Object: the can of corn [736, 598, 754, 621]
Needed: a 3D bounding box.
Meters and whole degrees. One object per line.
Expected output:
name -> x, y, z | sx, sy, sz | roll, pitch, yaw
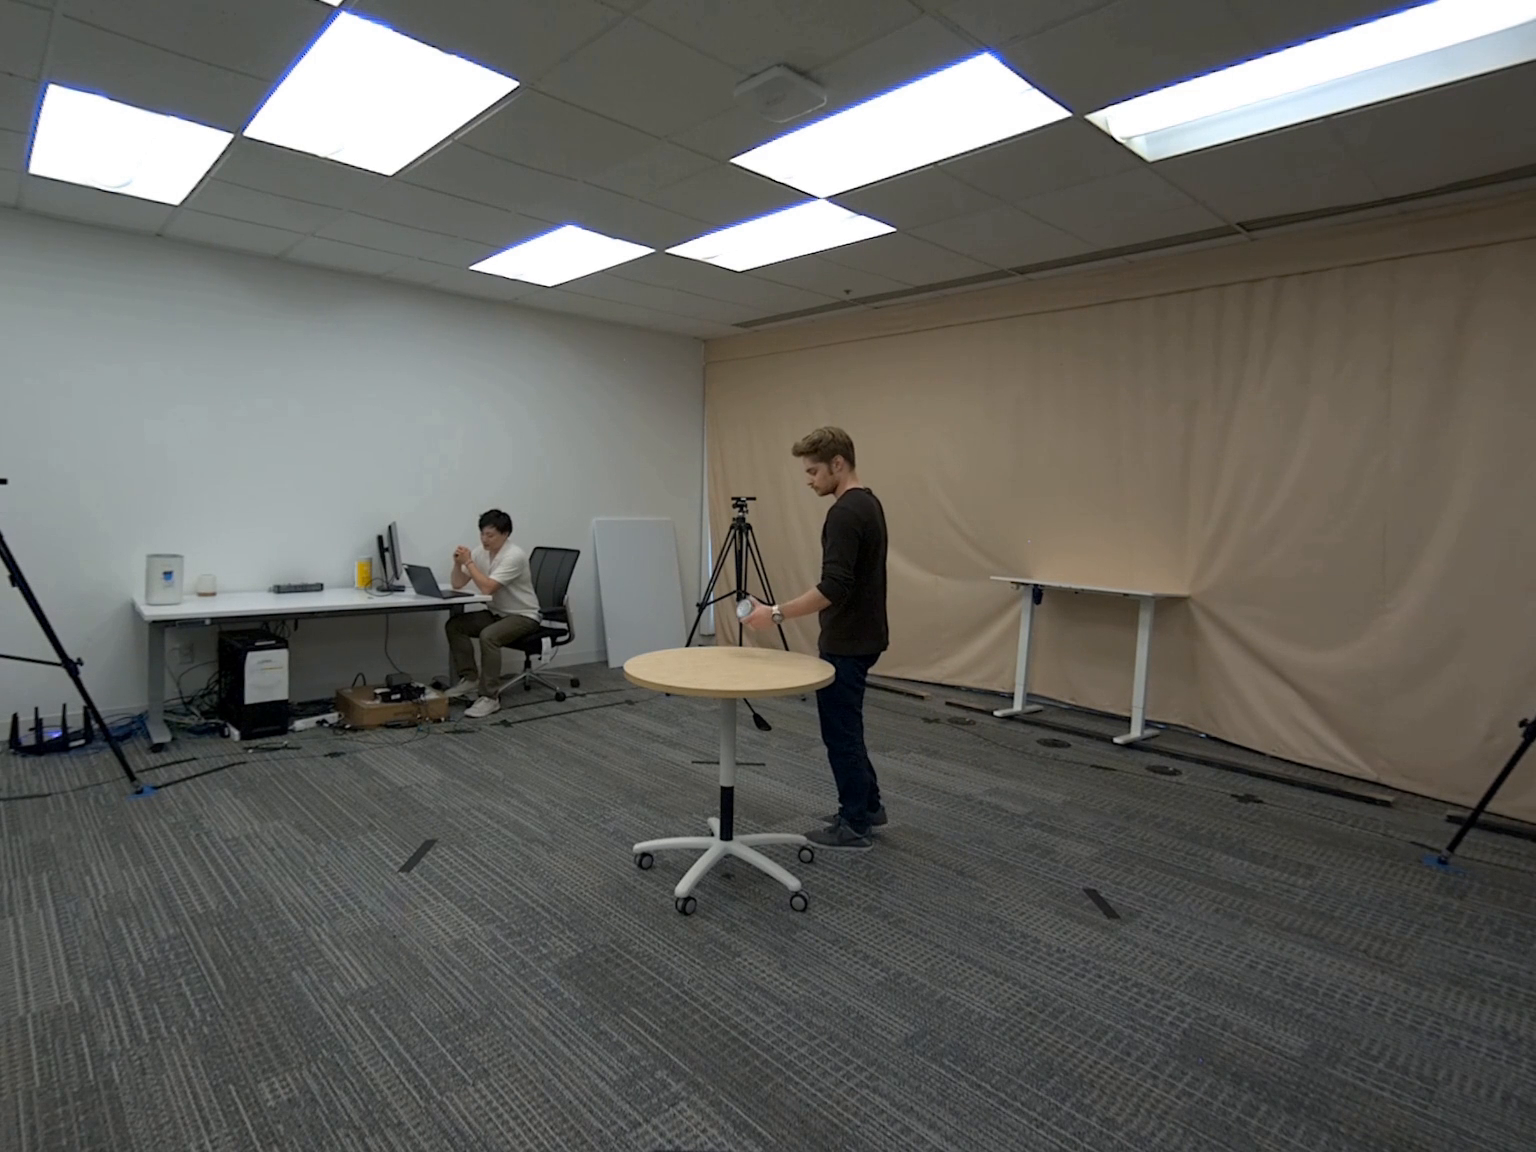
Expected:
can of corn -> -0.066, 0.141, 3.299 | 0.076, 0.074, 0.107 | 5, -13, 42
